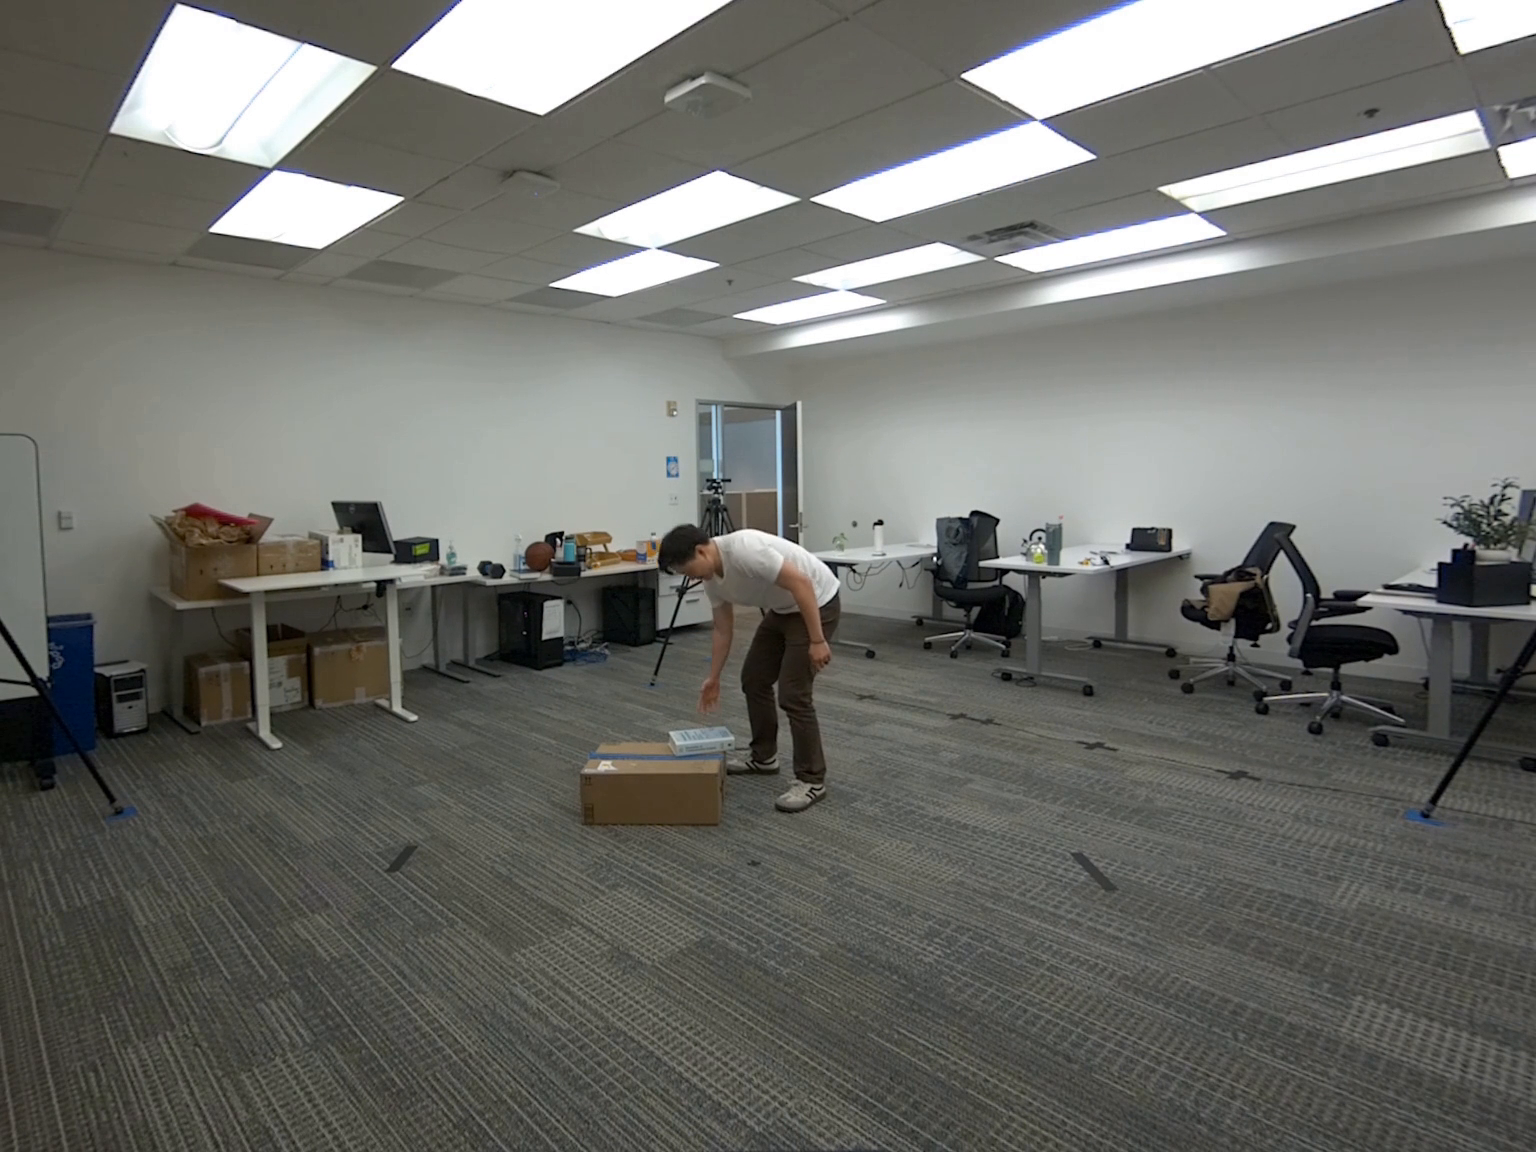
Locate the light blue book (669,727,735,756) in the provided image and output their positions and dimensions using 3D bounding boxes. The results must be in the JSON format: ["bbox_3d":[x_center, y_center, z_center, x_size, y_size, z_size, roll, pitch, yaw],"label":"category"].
[{"bbox_3d":[-0.295,0.734,3.789,0.257,0.059,0.195,-3,6,-16],"label":"light blue book"}]
